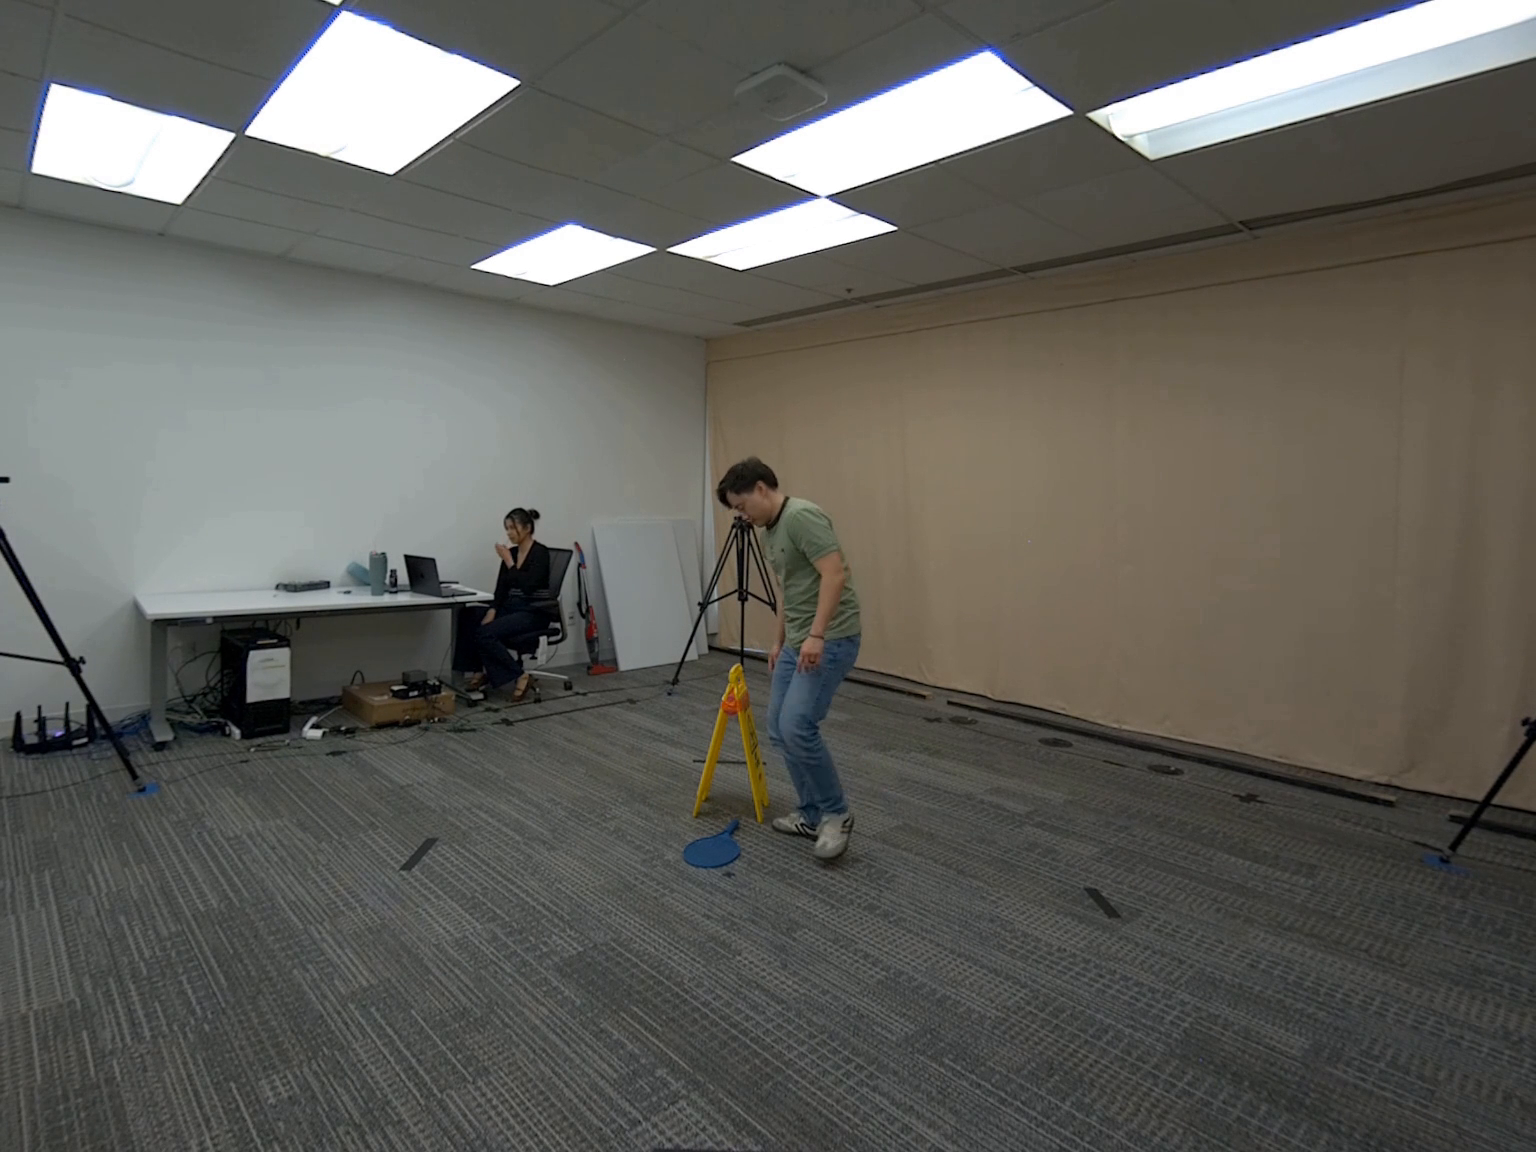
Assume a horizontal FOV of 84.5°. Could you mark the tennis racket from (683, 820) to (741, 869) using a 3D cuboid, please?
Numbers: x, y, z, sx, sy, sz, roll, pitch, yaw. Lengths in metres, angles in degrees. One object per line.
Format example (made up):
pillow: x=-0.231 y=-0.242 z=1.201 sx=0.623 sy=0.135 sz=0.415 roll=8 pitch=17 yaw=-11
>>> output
tennis racket: x=-0.198 y=1.060 z=3.355 sx=0.217 sy=0.031 sz=0.428 roll=3 pitch=7 yaw=17
